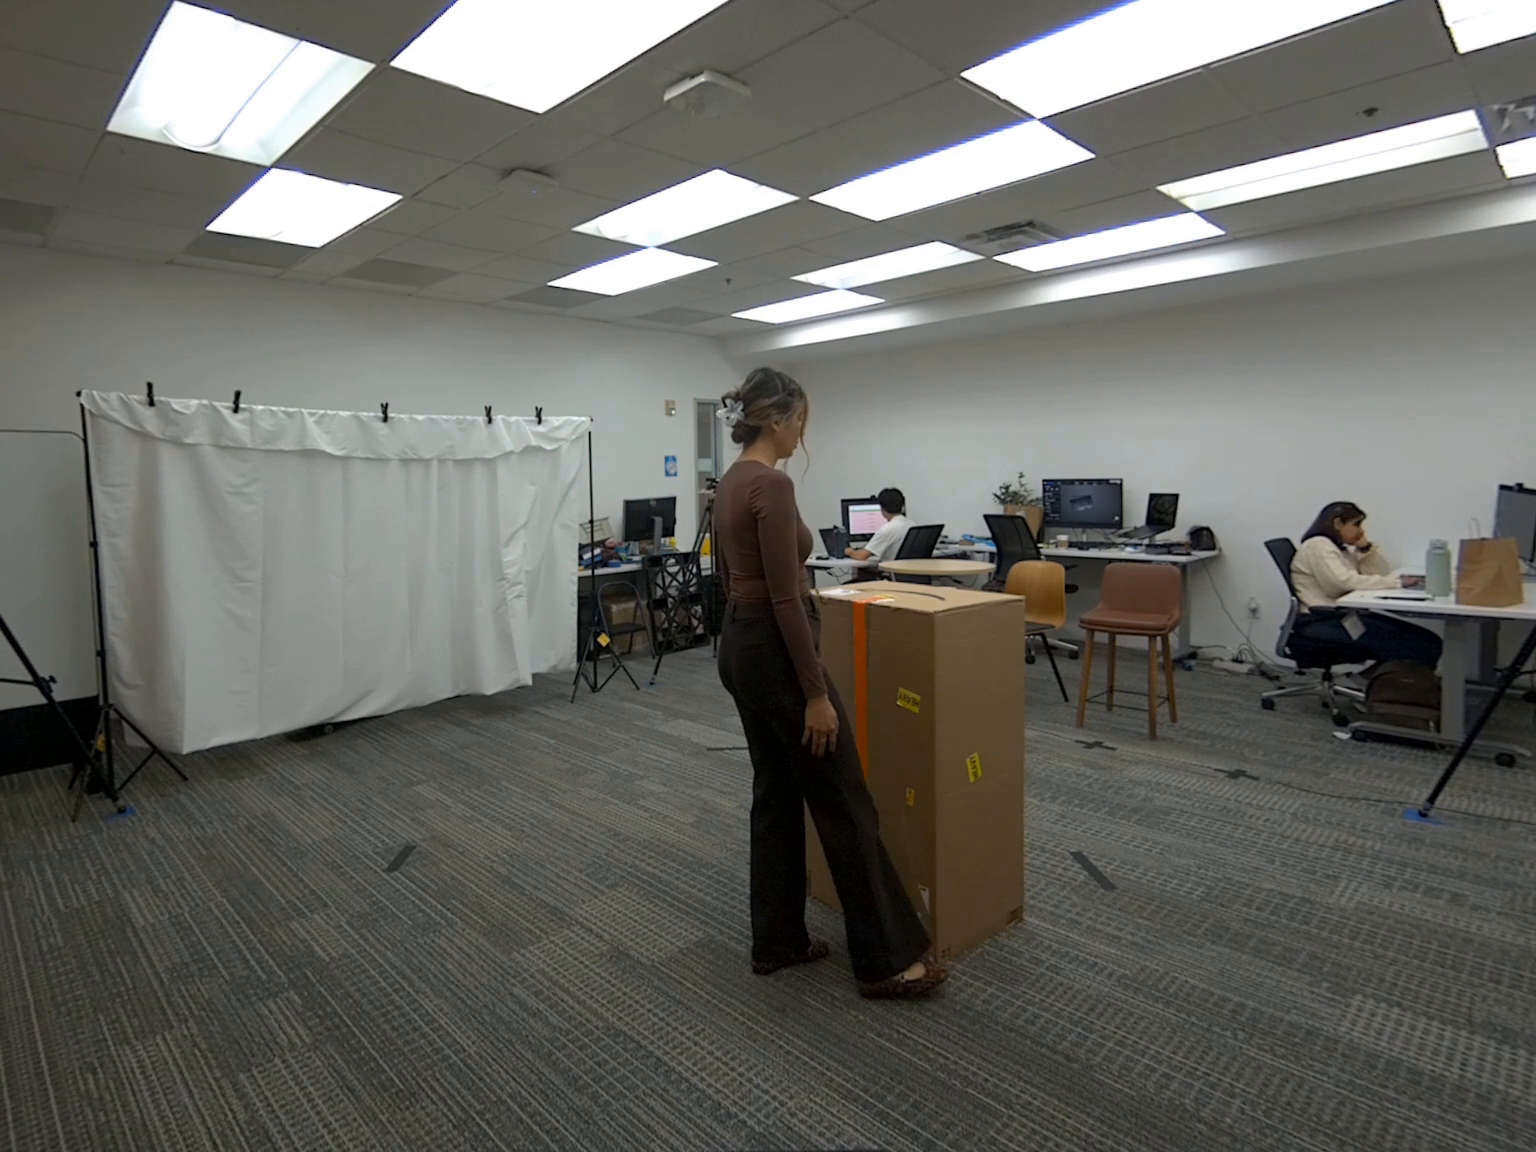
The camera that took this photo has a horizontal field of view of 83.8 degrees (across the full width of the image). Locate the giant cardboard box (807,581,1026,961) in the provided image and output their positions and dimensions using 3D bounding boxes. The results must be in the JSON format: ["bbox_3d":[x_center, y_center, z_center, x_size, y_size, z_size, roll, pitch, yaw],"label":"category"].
[{"bbox_3d":[0.452,0.563,2.751,0.435,1.023,0.601,-5,6,-36],"label":"giant cardboard box"}]
